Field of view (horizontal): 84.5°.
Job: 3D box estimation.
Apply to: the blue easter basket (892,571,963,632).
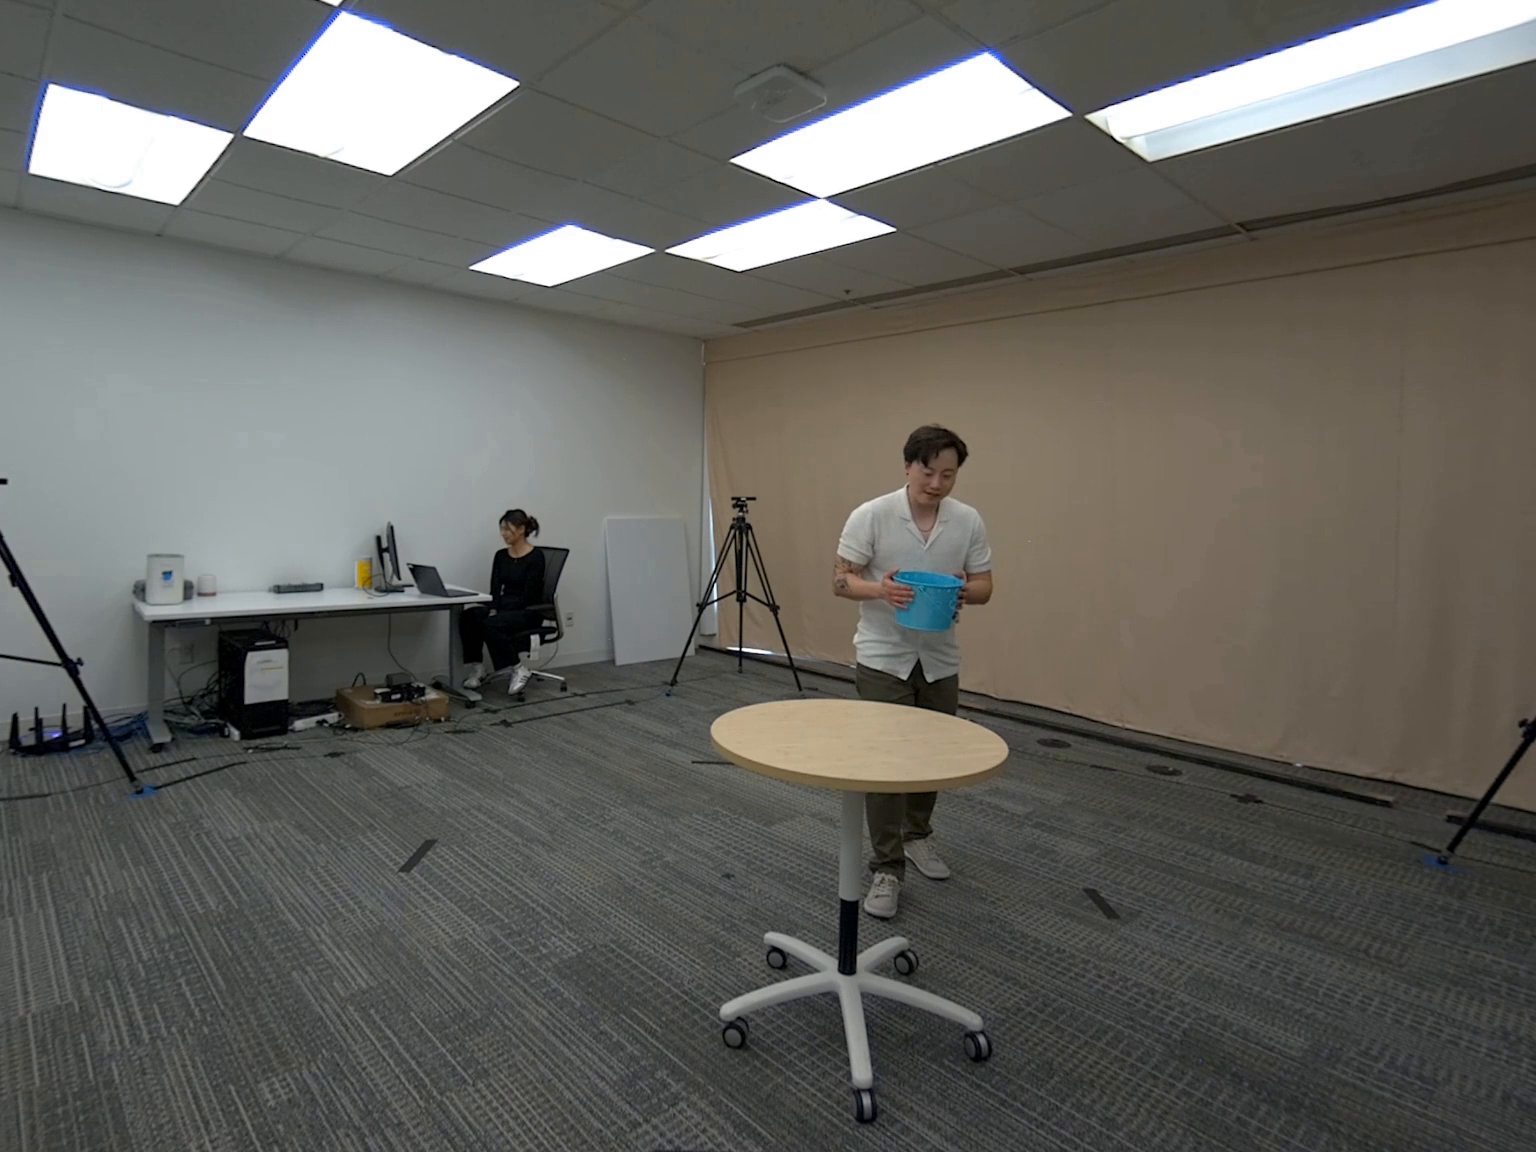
[{"bbox_3d":[0.517,0.087,2.755,0.243,0.155,0.245,2,10,-2],"label":"blue easter basket"}]
